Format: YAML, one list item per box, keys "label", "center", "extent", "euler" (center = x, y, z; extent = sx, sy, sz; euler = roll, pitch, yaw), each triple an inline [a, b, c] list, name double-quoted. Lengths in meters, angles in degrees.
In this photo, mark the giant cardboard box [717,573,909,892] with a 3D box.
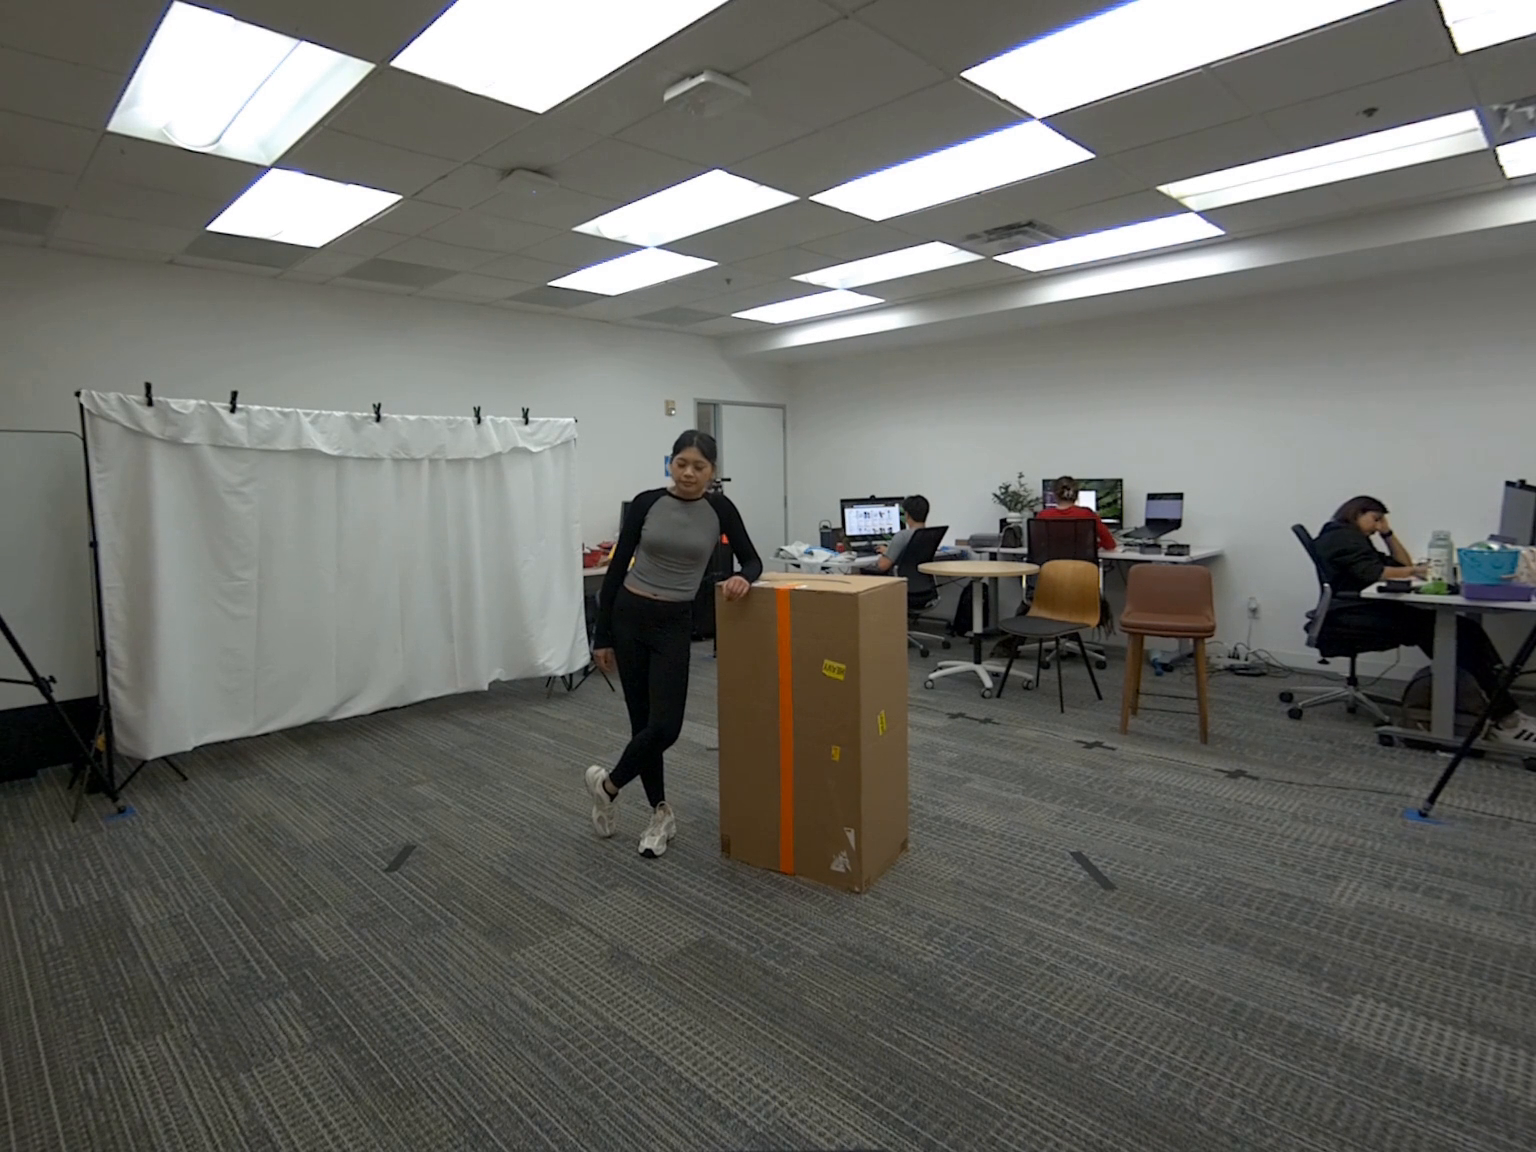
- label: "giant cardboard box"
  center: [0.171, 0.525, 3.150]
  extent: [0.593, 1.022, 0.416]
  euler: [1, 5, 34]
